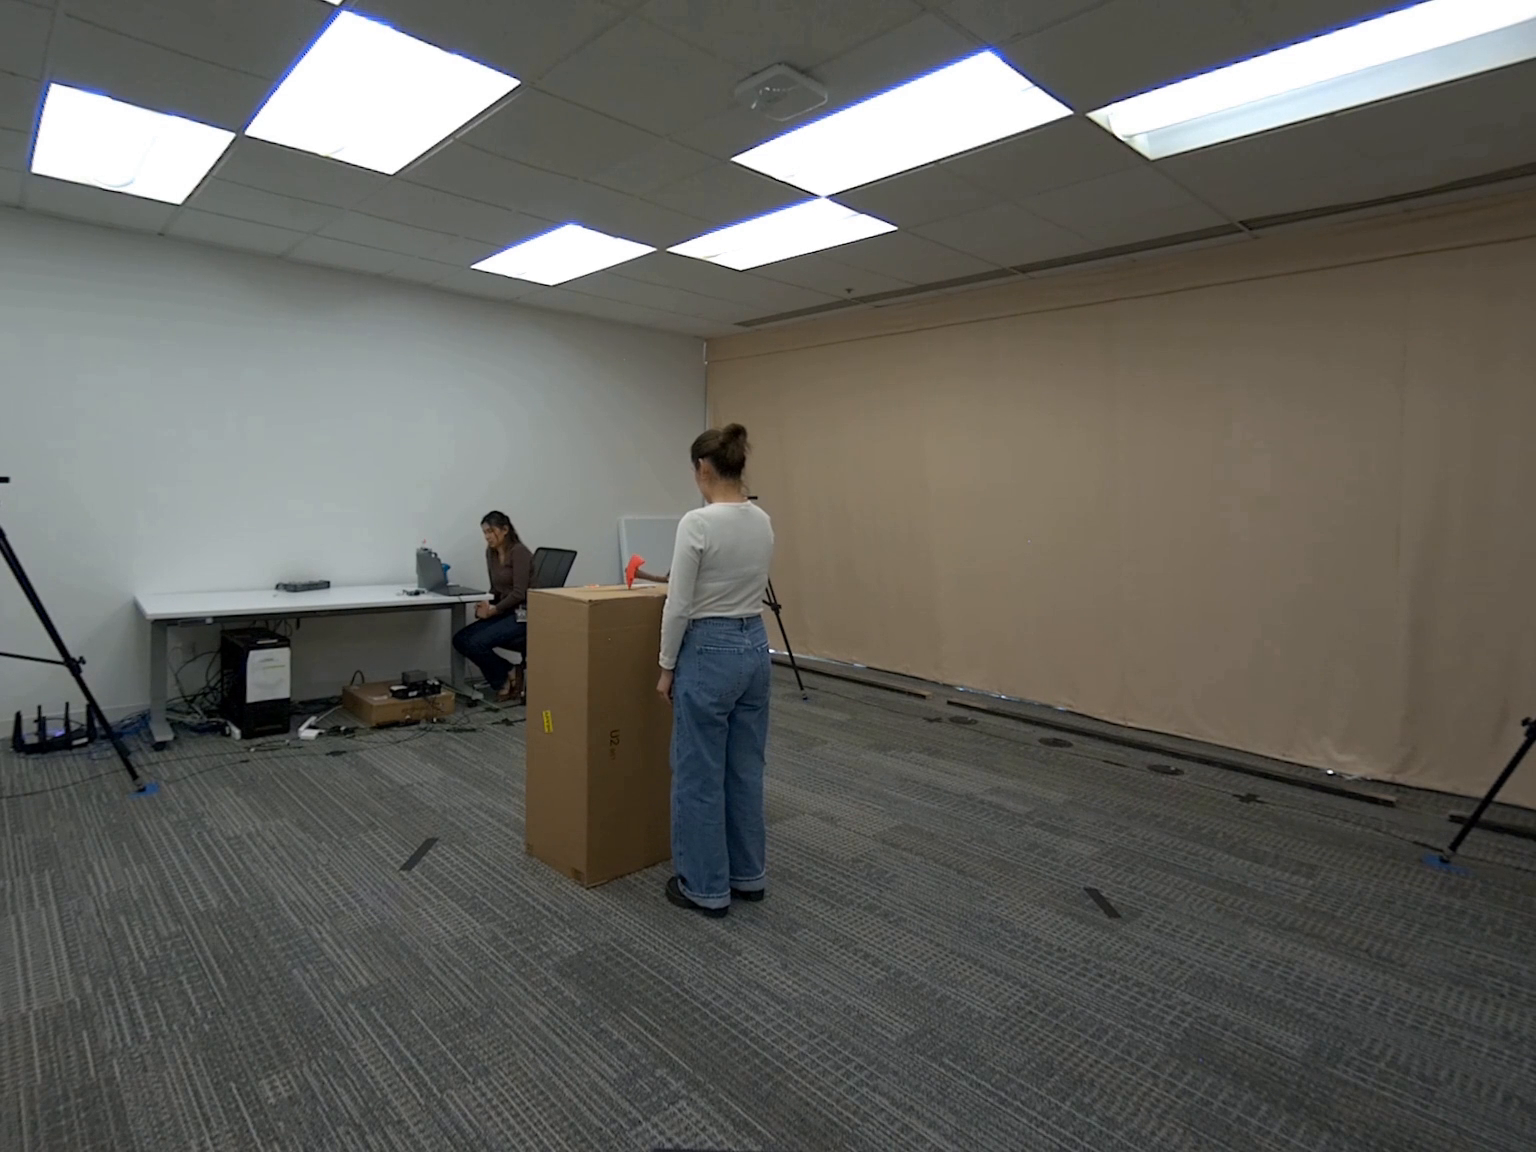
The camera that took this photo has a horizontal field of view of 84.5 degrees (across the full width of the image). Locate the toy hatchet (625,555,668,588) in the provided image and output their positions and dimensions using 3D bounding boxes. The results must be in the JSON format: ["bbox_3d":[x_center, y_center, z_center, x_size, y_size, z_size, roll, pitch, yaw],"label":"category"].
[{"bbox_3d":[-0.449,-0.032,3.227,0.275,0.131,0.029,-5,-6,28],"label":"toy hatchet"}]
